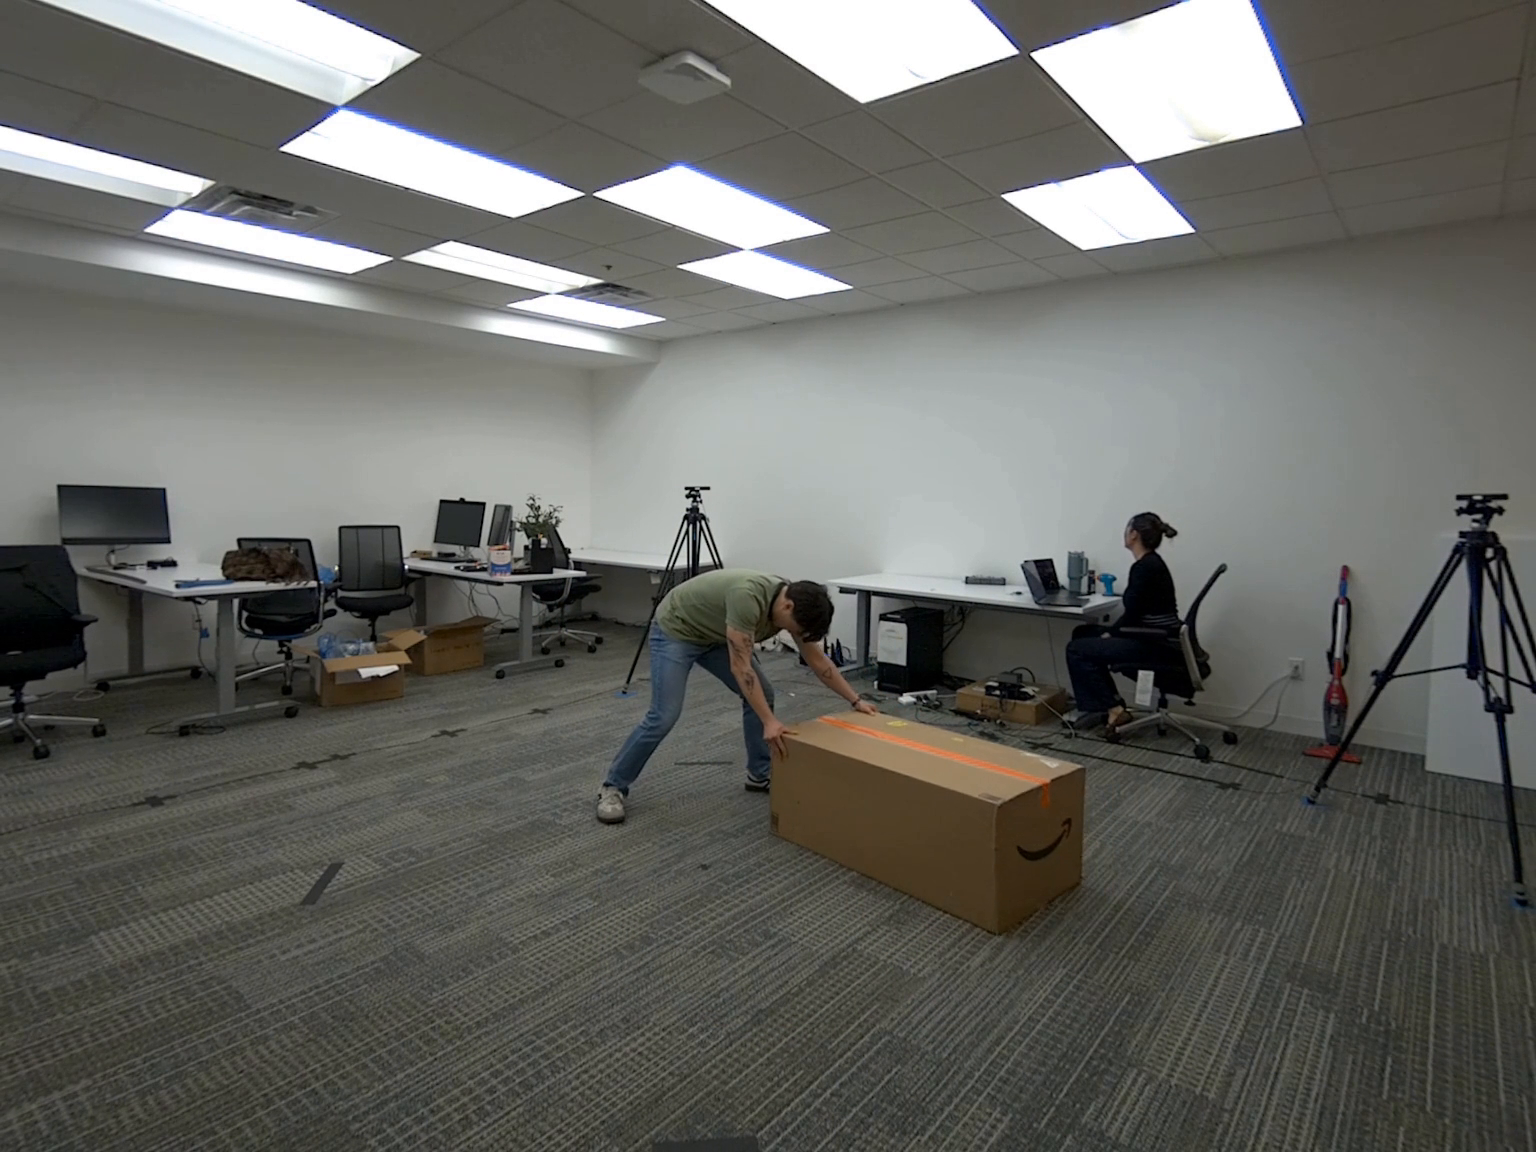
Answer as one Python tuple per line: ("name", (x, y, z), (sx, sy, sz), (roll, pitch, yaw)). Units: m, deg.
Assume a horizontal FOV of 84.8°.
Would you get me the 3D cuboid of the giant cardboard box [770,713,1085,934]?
("giant cardboard box", (0.558, 0.852, 3.226), (0.560, 0.425, 1.061), (-3, 7, -43))
